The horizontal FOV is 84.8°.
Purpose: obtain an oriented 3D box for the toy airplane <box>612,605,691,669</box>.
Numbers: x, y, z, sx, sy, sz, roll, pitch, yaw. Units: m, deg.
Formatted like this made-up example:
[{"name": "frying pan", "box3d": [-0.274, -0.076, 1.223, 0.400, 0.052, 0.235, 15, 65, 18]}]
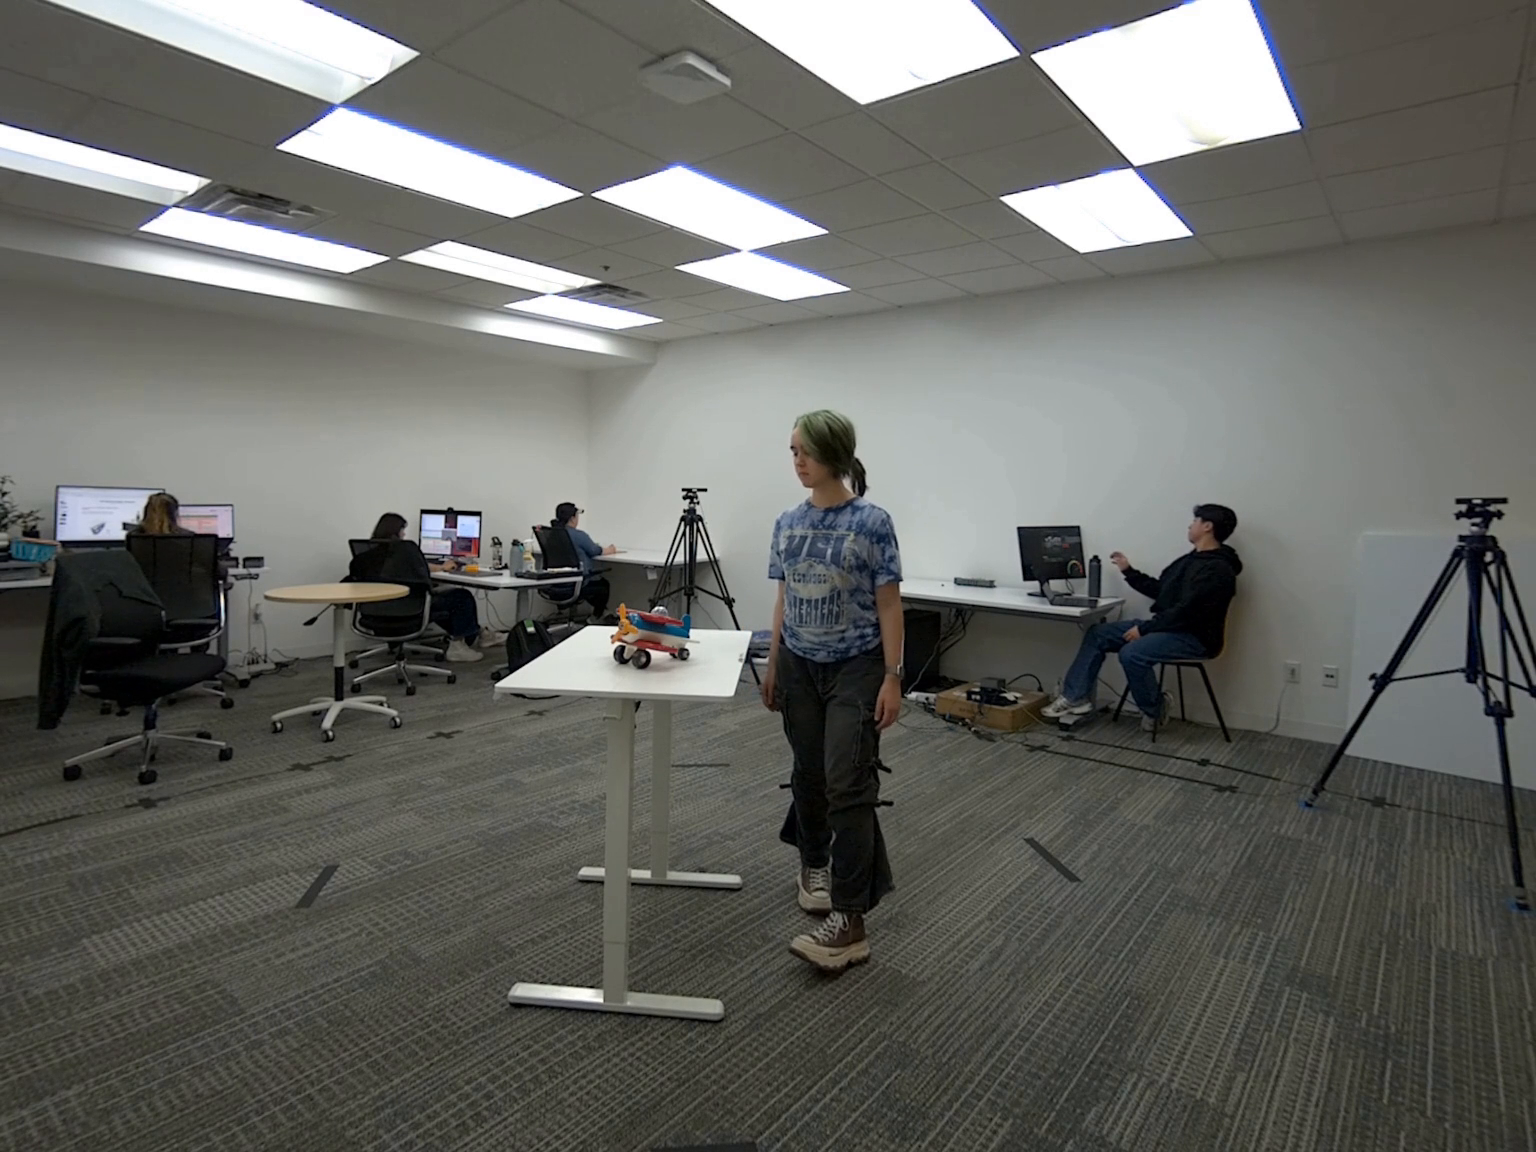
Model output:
[{"name": "toy airplane", "box3d": [-0.353, 0.173, 2.471, 0.256, 0.156, 0.255, 3, 5, 17]}]
